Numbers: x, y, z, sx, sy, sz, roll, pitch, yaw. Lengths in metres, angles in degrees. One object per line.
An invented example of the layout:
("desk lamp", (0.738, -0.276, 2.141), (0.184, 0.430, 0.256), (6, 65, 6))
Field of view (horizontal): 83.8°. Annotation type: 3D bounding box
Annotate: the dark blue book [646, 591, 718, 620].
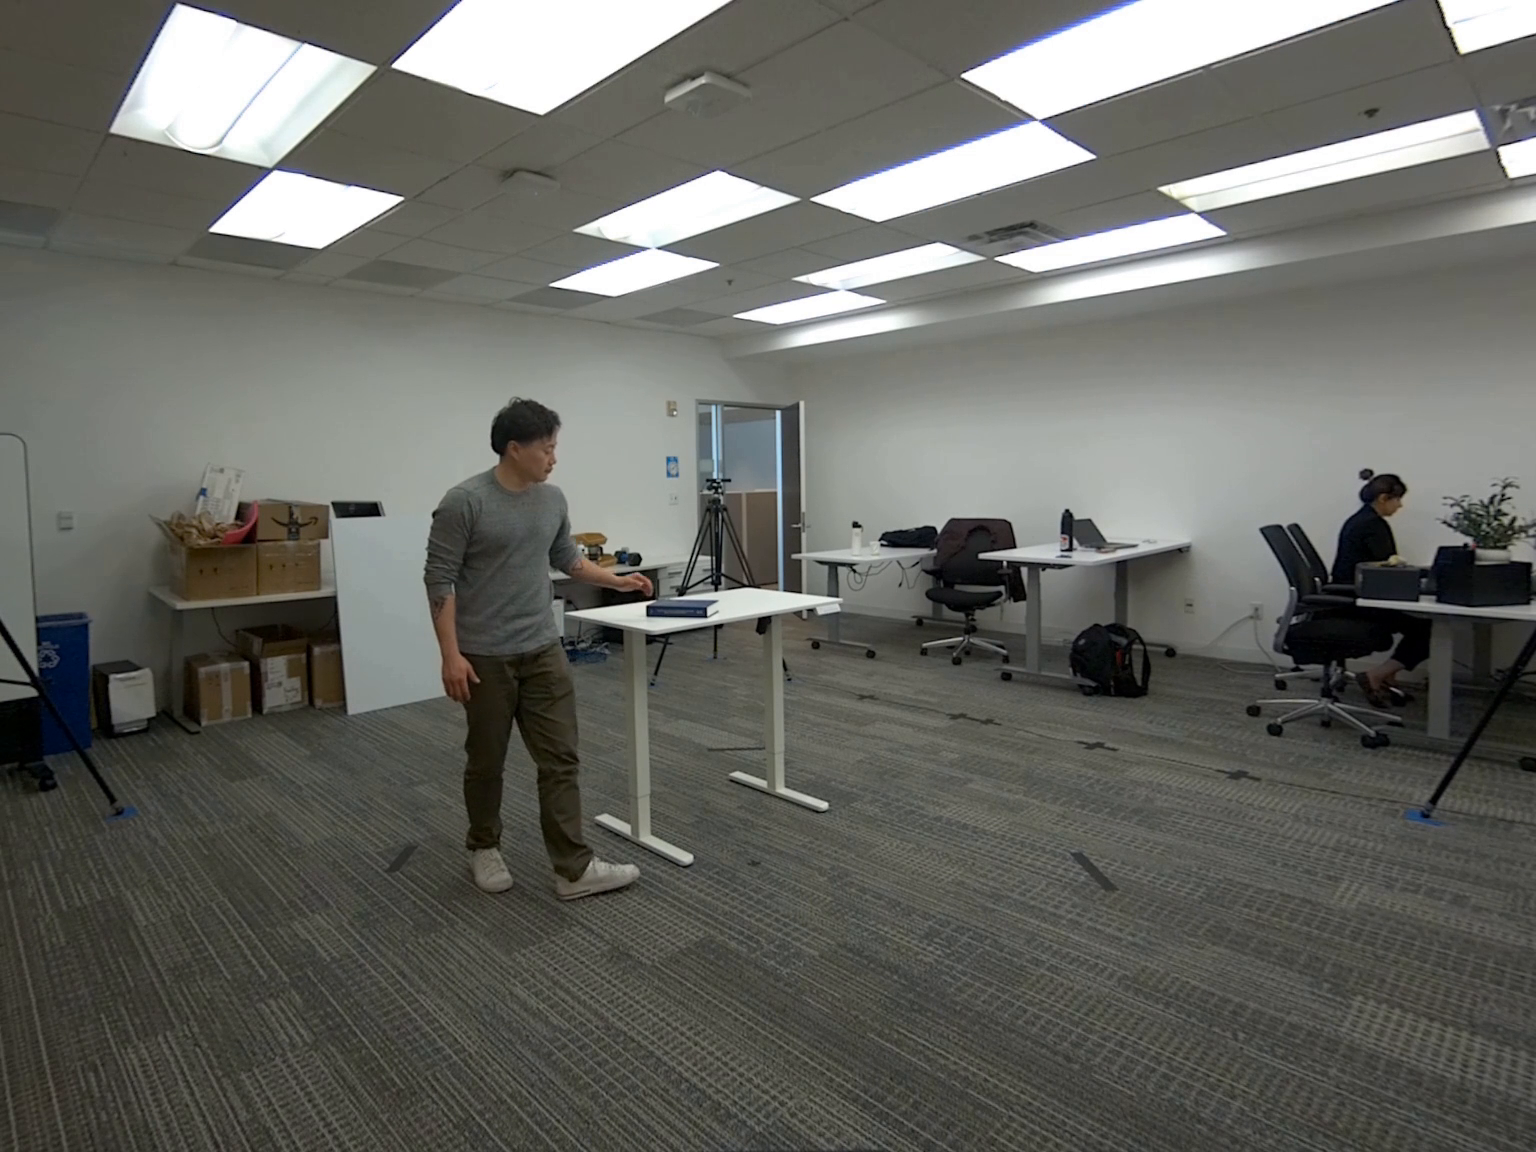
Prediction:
("dark blue book", (-0.331, 0.126, 3.285), (0.249, 0.045, 0.162), (0, 7, 16))
